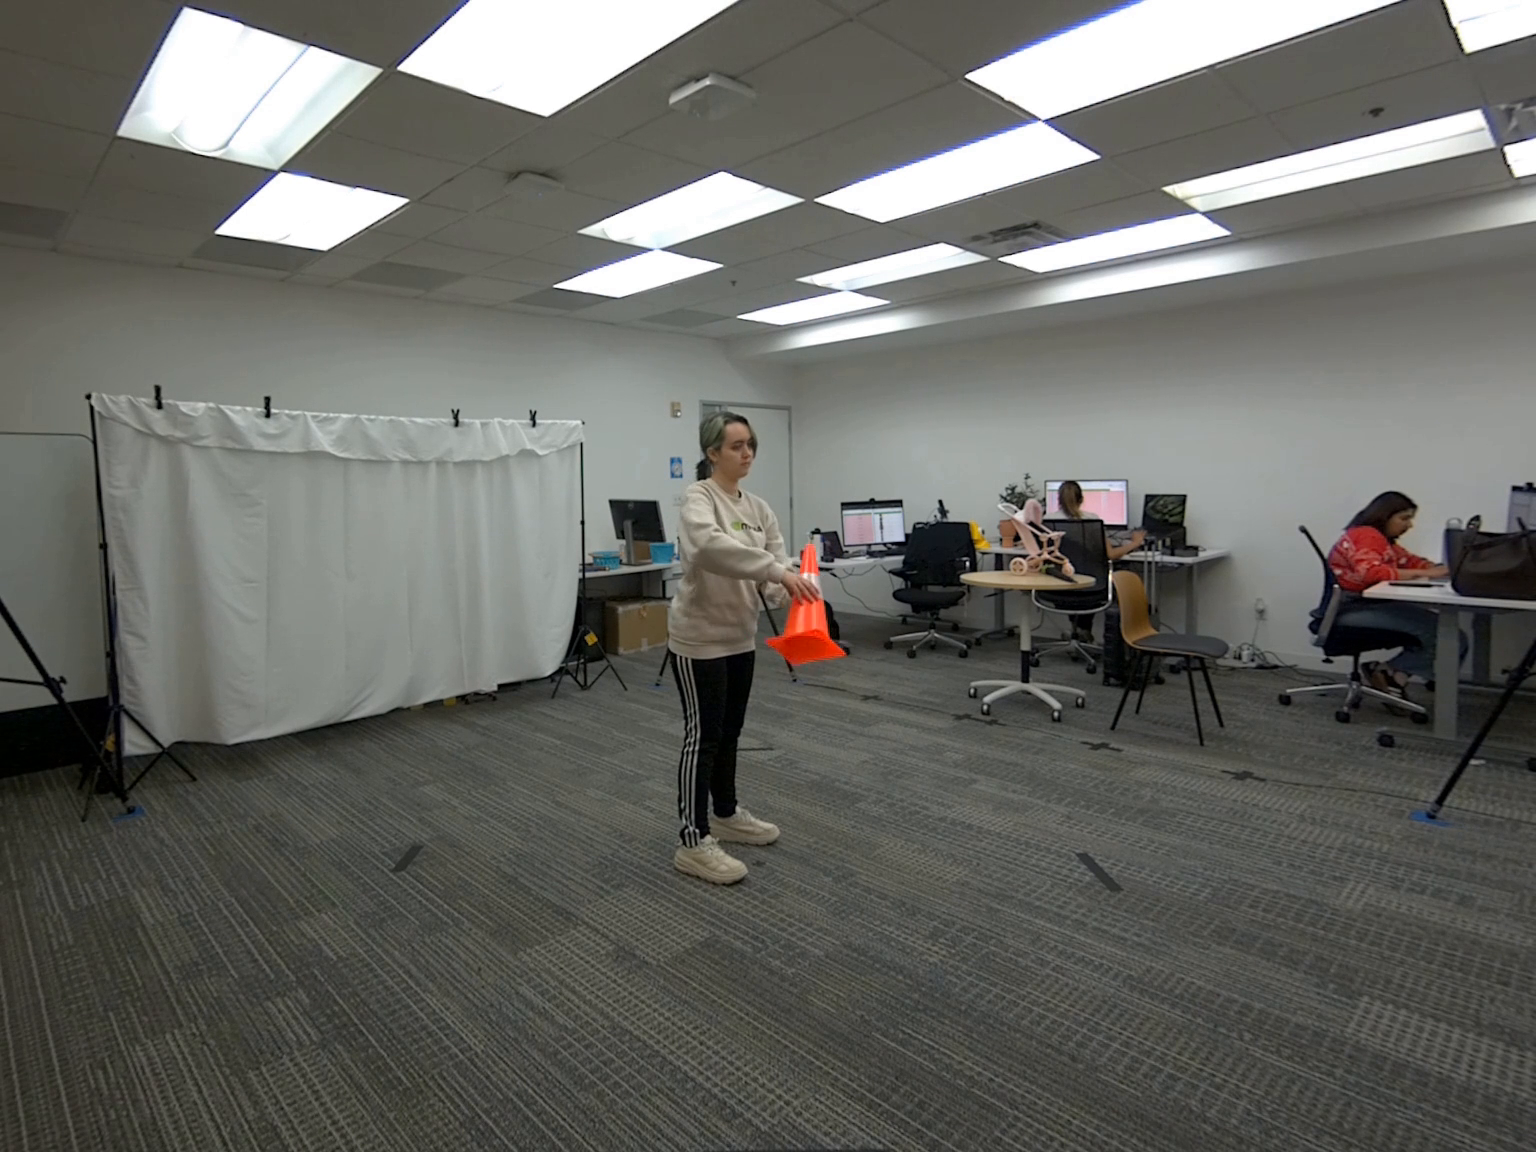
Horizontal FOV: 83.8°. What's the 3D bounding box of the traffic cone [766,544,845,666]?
[{"bbox_3d":[0.131,0.060,2.827,0.207,0.392,0.197,-18,-38,30],"label":"traffic cone"}]
